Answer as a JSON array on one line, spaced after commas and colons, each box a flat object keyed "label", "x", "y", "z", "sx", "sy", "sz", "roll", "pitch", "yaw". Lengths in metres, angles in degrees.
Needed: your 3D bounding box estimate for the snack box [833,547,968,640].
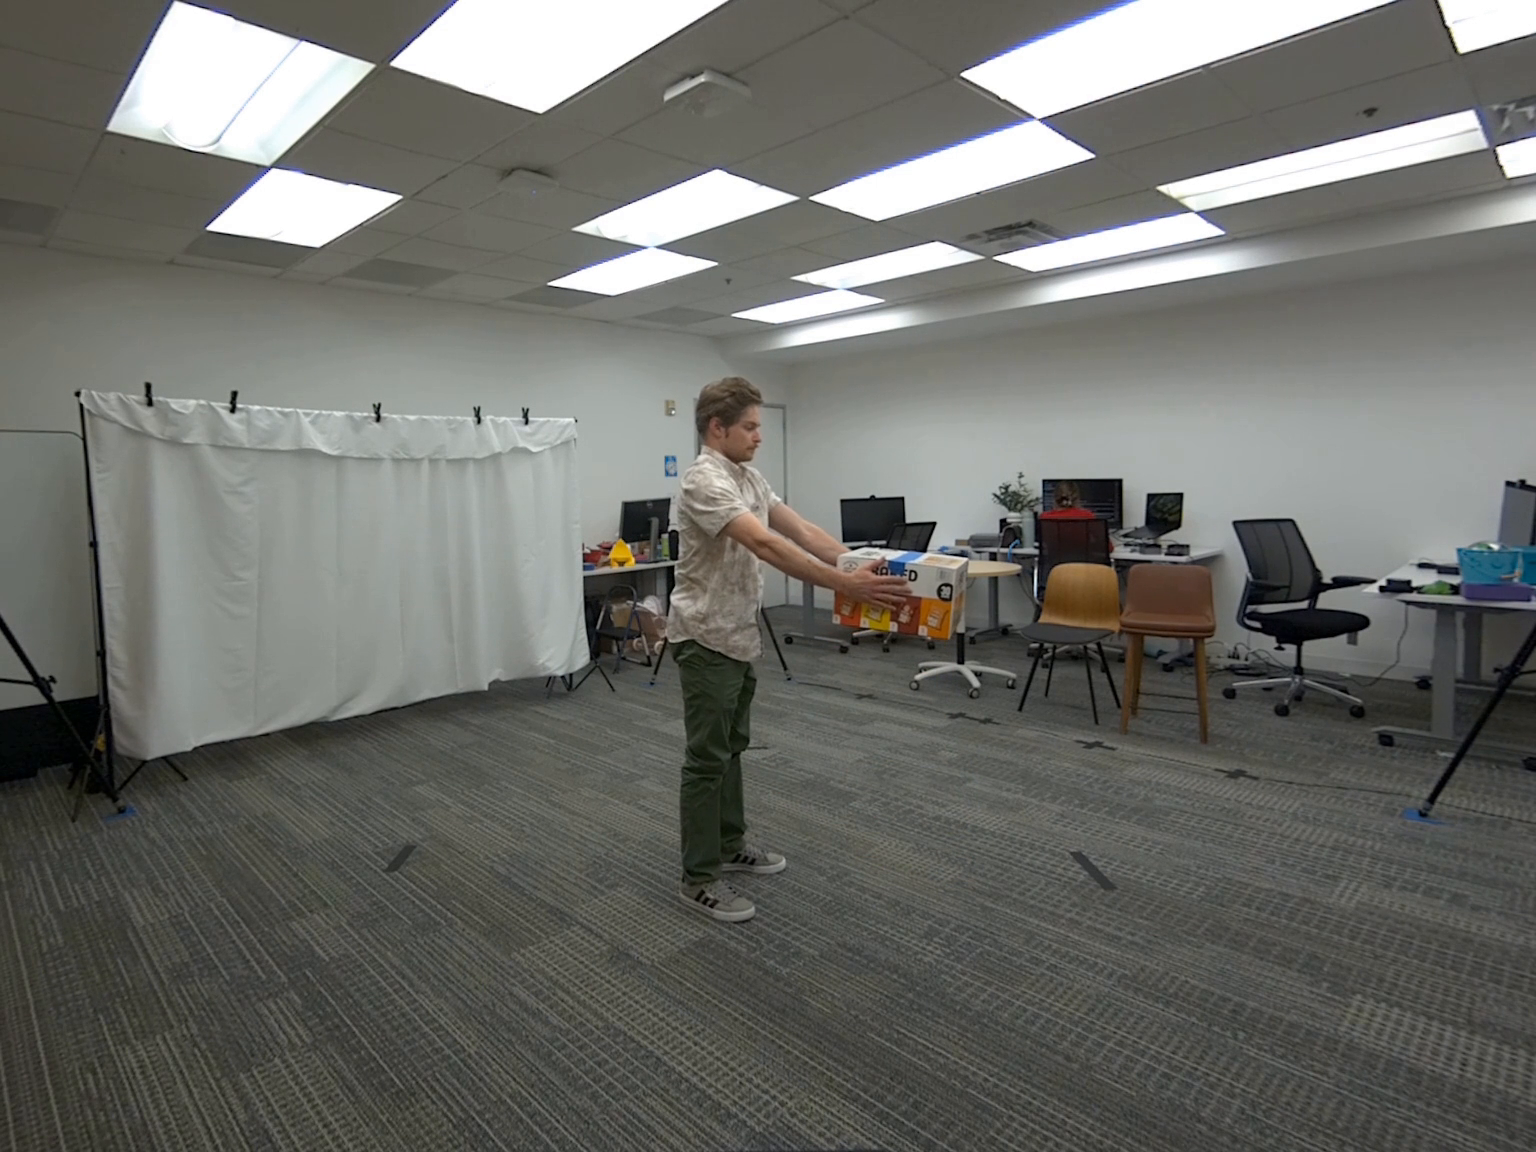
[{"label": "snack box", "x": 0.416, "y": 0.041, "z": 2.623, "sx": 0.347, "sy": 0.205, "sz": 0.399, "roll": 7, "pitch": 7, "yaw": 19}]
